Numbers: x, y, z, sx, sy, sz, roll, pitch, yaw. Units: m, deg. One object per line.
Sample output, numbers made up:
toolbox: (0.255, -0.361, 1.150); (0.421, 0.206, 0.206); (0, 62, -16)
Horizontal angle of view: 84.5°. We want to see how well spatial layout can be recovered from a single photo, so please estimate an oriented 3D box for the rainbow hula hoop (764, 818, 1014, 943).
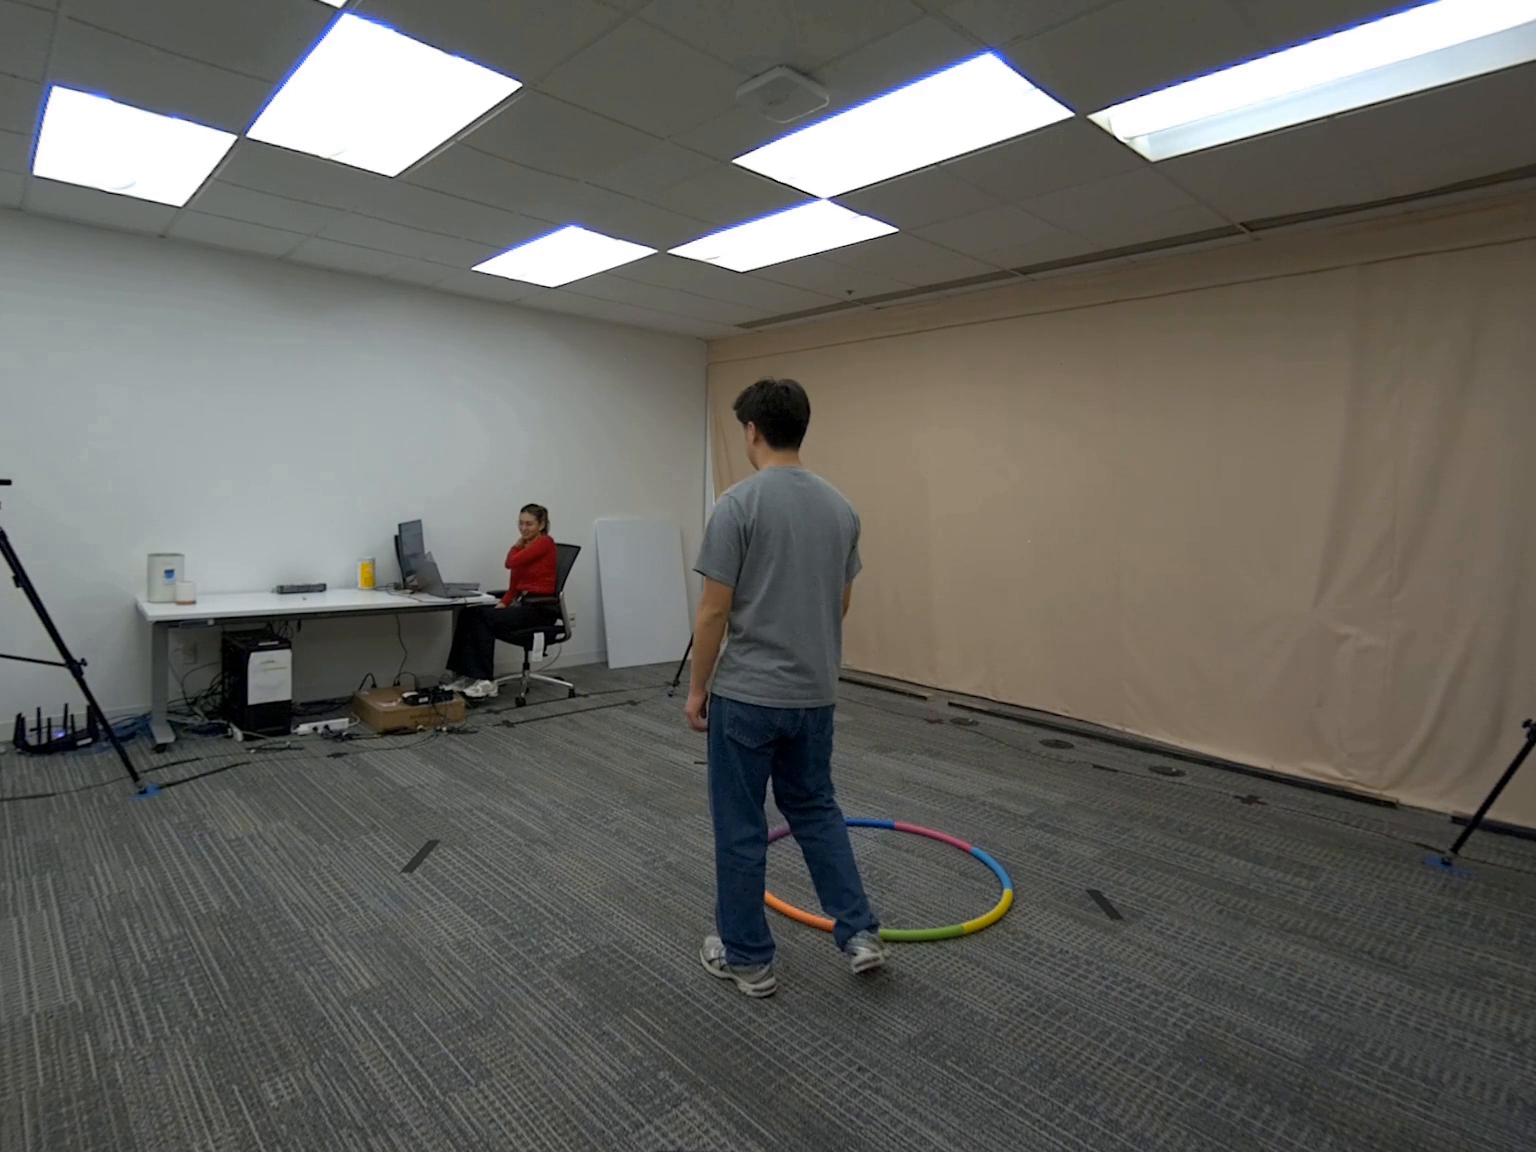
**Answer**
rainbow hula hoop: (0.375, 1.082, 3.153); (0.978, 0.035, 0.982); (2, 5, -1)
